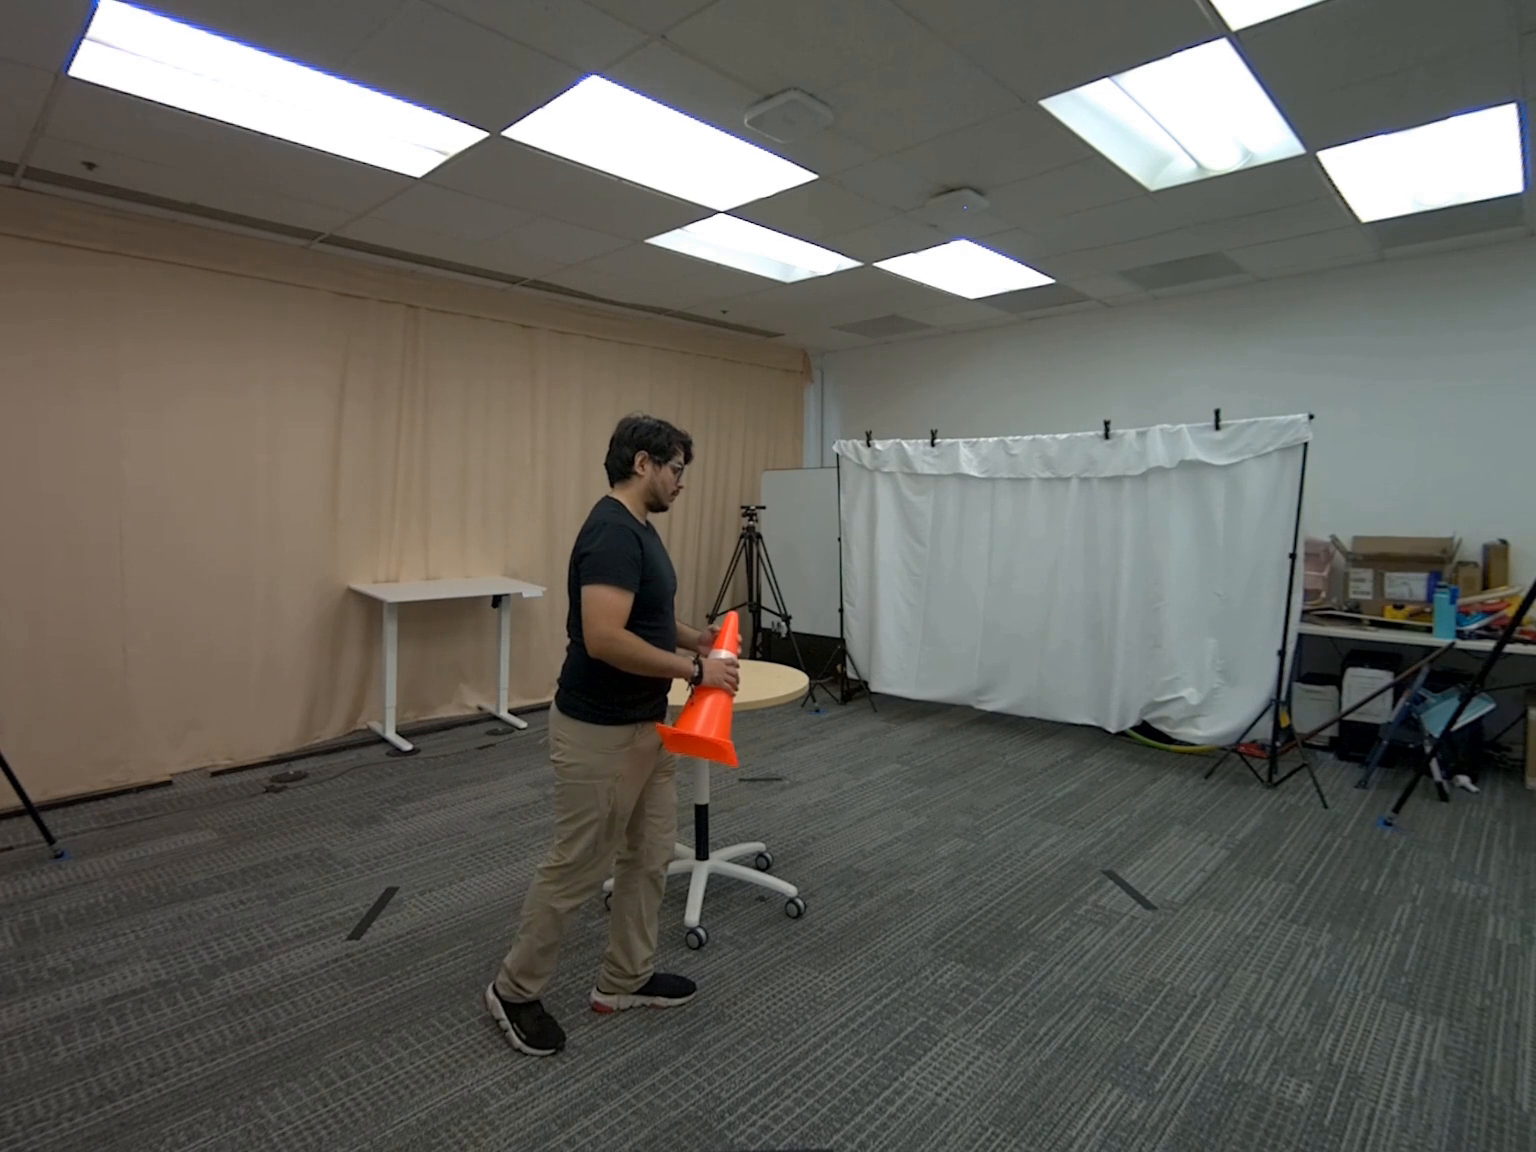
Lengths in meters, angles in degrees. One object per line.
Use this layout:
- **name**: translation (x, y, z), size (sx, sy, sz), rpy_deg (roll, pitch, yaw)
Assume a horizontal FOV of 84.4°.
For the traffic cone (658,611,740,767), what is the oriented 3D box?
- **traffic cone**: translation (-0.131, 0.275, 2.189), size (0.208, 0.386, 0.199), rpy_deg (10, -27, 11)
